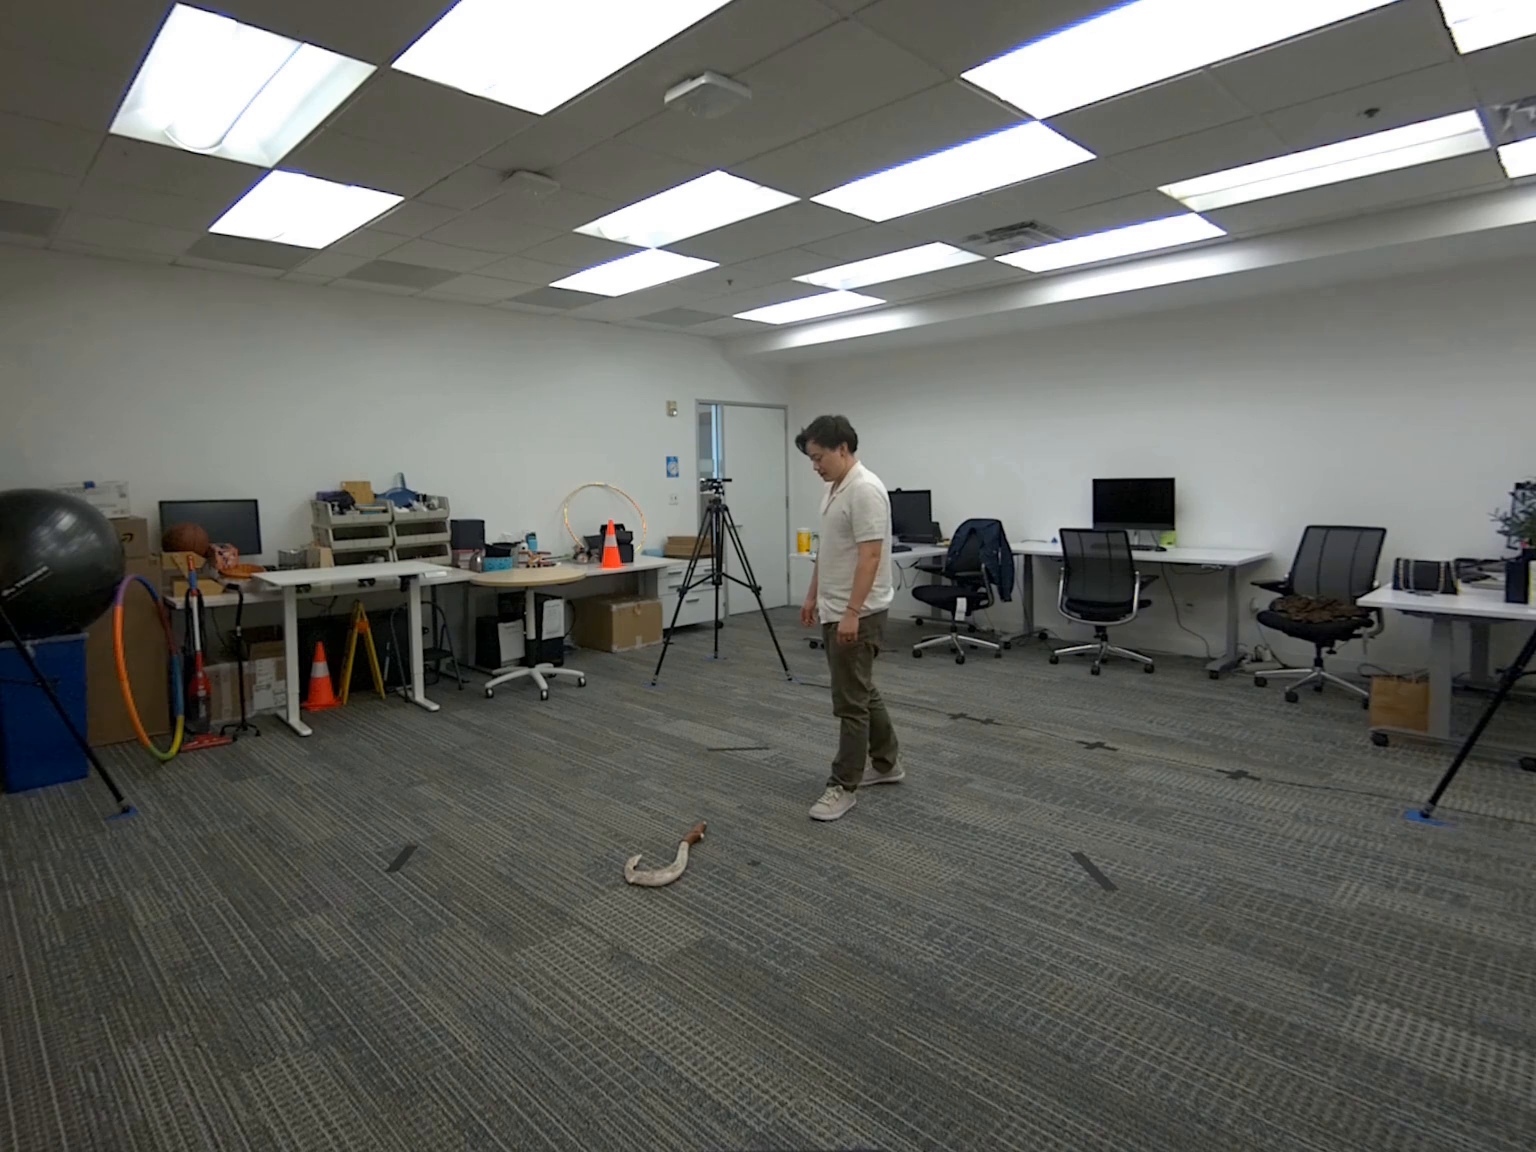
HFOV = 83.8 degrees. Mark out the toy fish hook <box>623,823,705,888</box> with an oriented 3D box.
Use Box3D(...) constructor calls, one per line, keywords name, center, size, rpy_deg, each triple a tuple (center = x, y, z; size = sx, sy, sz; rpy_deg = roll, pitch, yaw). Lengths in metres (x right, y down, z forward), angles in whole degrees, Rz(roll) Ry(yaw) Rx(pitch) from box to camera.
Box3D(name="toy fish hook", center=(-0.370, 1.017, 3.173), size=(0.228, 0.048, 0.501), rpy_deg=(3, 7, 15))
